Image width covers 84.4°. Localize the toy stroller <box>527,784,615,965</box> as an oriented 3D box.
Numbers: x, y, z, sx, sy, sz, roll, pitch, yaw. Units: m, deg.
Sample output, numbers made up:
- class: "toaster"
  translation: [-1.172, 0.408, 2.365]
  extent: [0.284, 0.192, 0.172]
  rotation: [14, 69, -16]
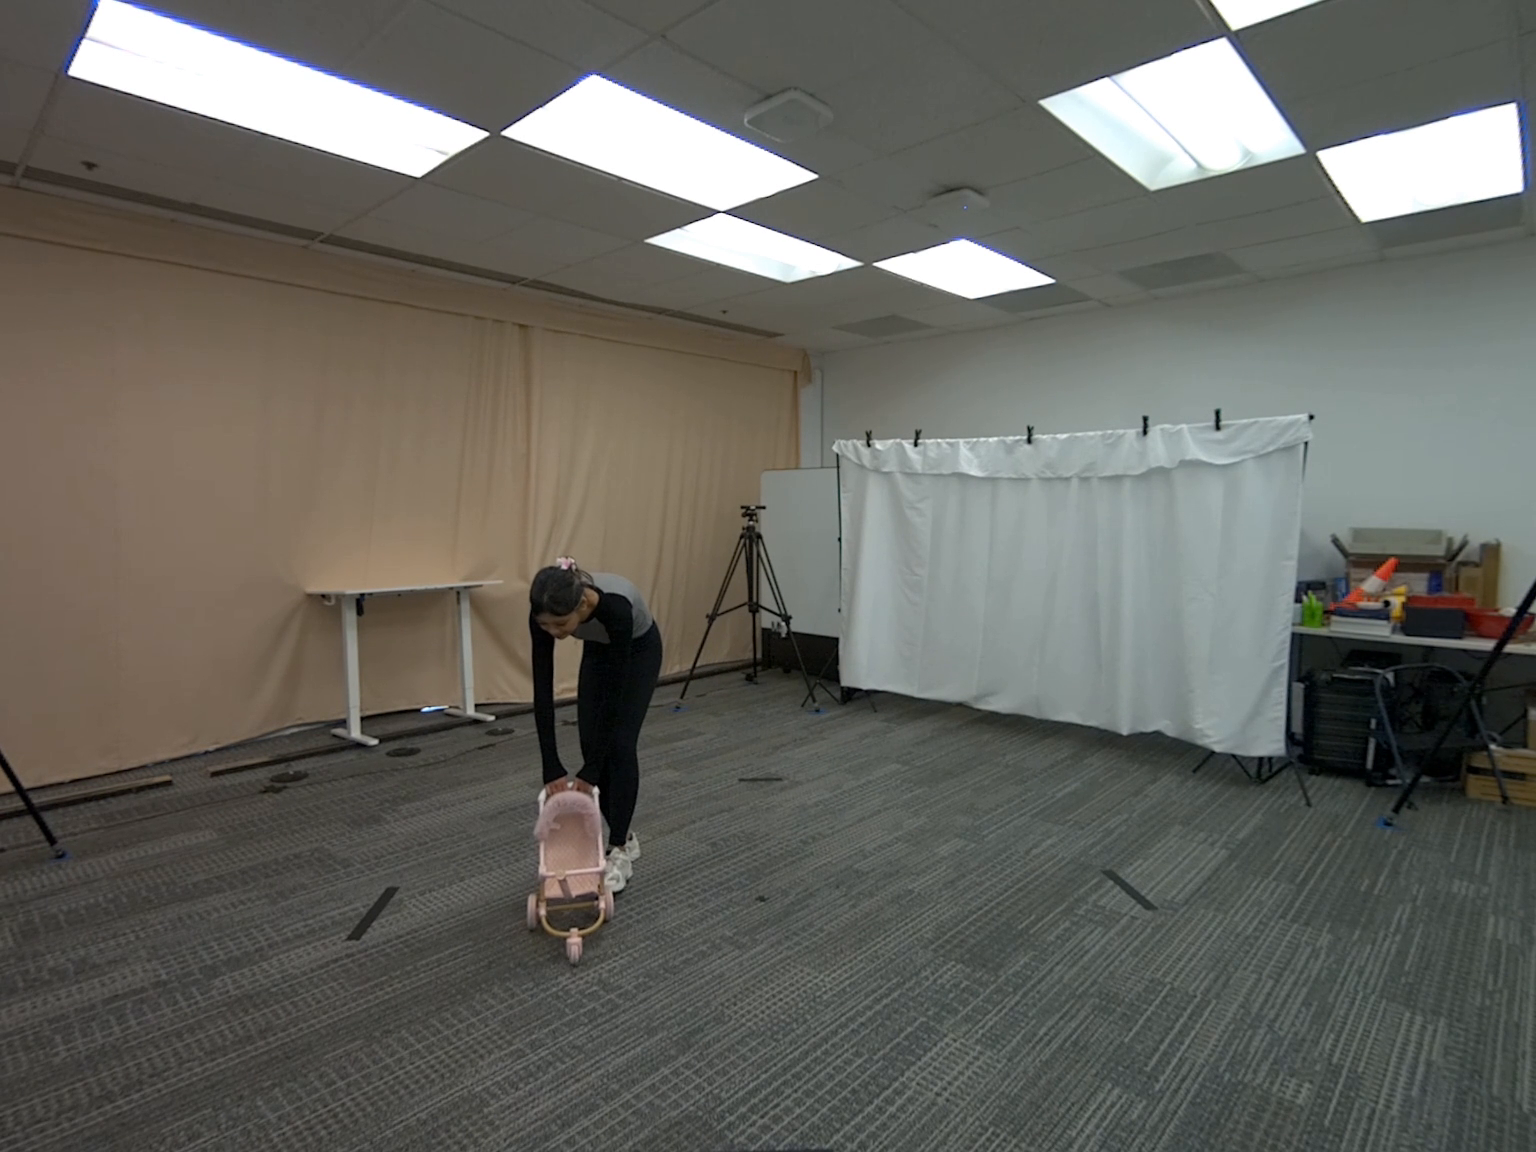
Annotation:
- class: "toy stroller"
  translation: [-0.646, 0.941, 2.744]
  extent: [0.278, 0.540, 0.342]
  rotation: [-2, -13, -11]
